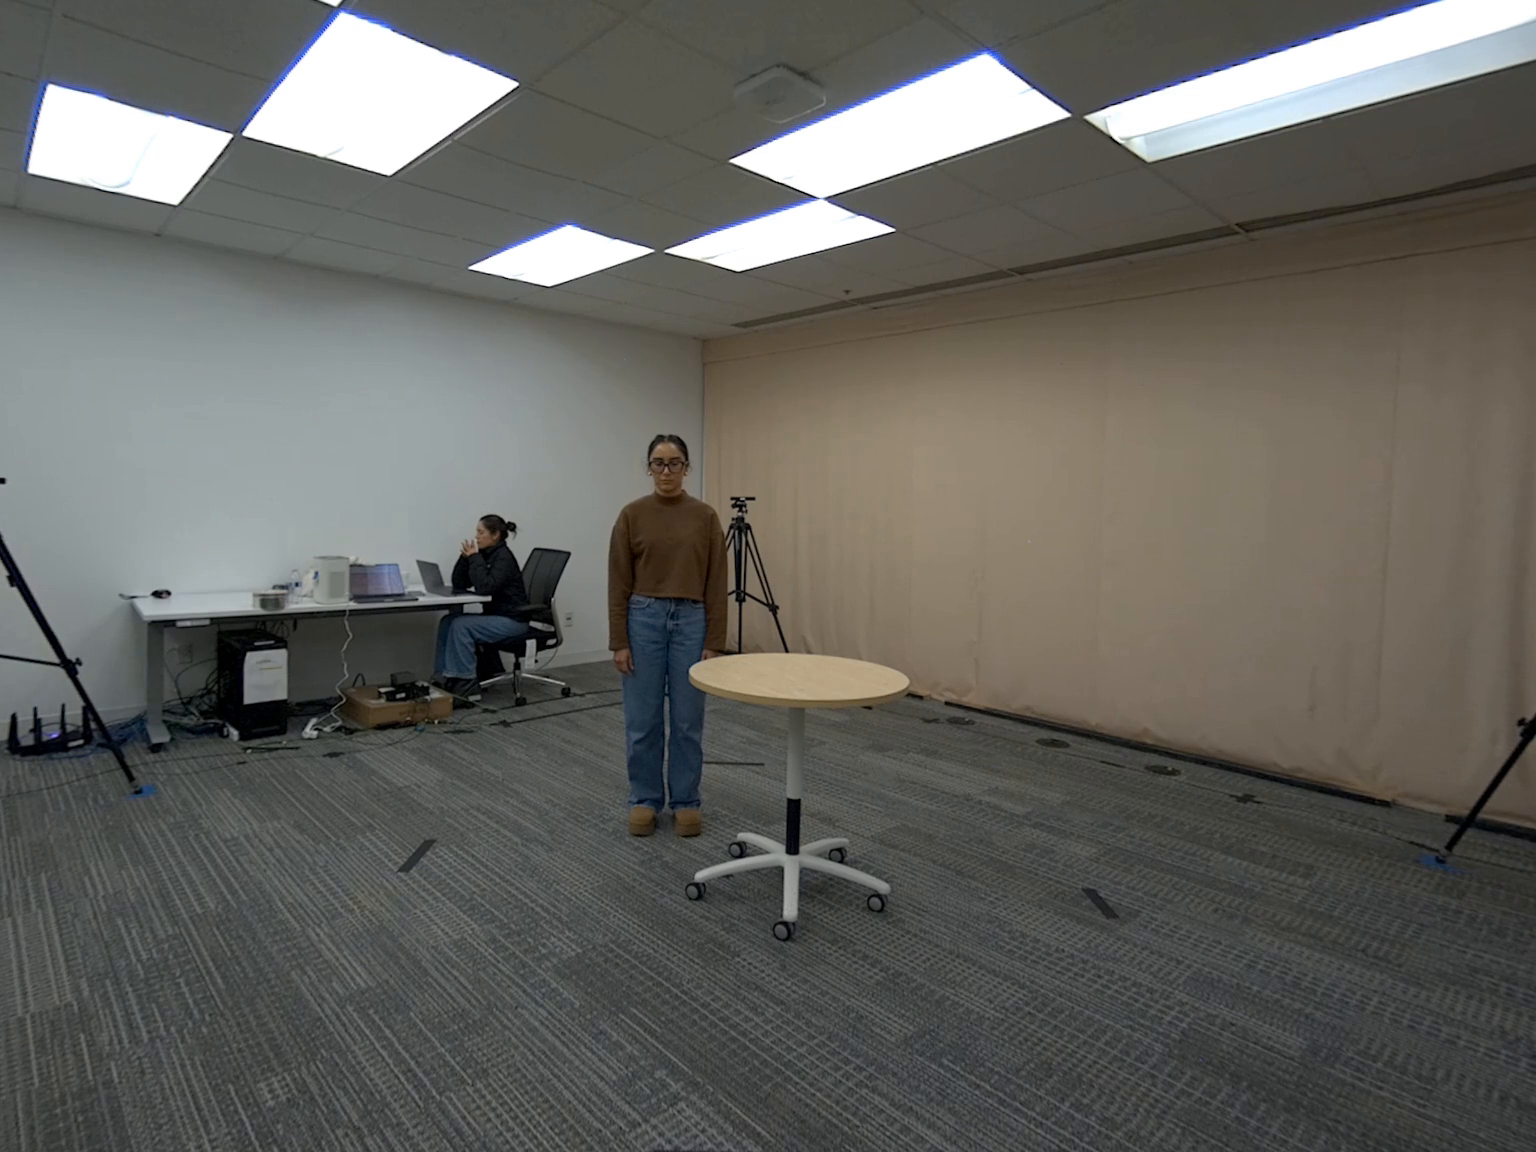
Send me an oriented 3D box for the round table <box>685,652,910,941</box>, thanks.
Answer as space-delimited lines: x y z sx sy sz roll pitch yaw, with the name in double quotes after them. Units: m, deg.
0.071 0.732 2.970 0.784 0.784 0.788 2 4 -2 "round table"
